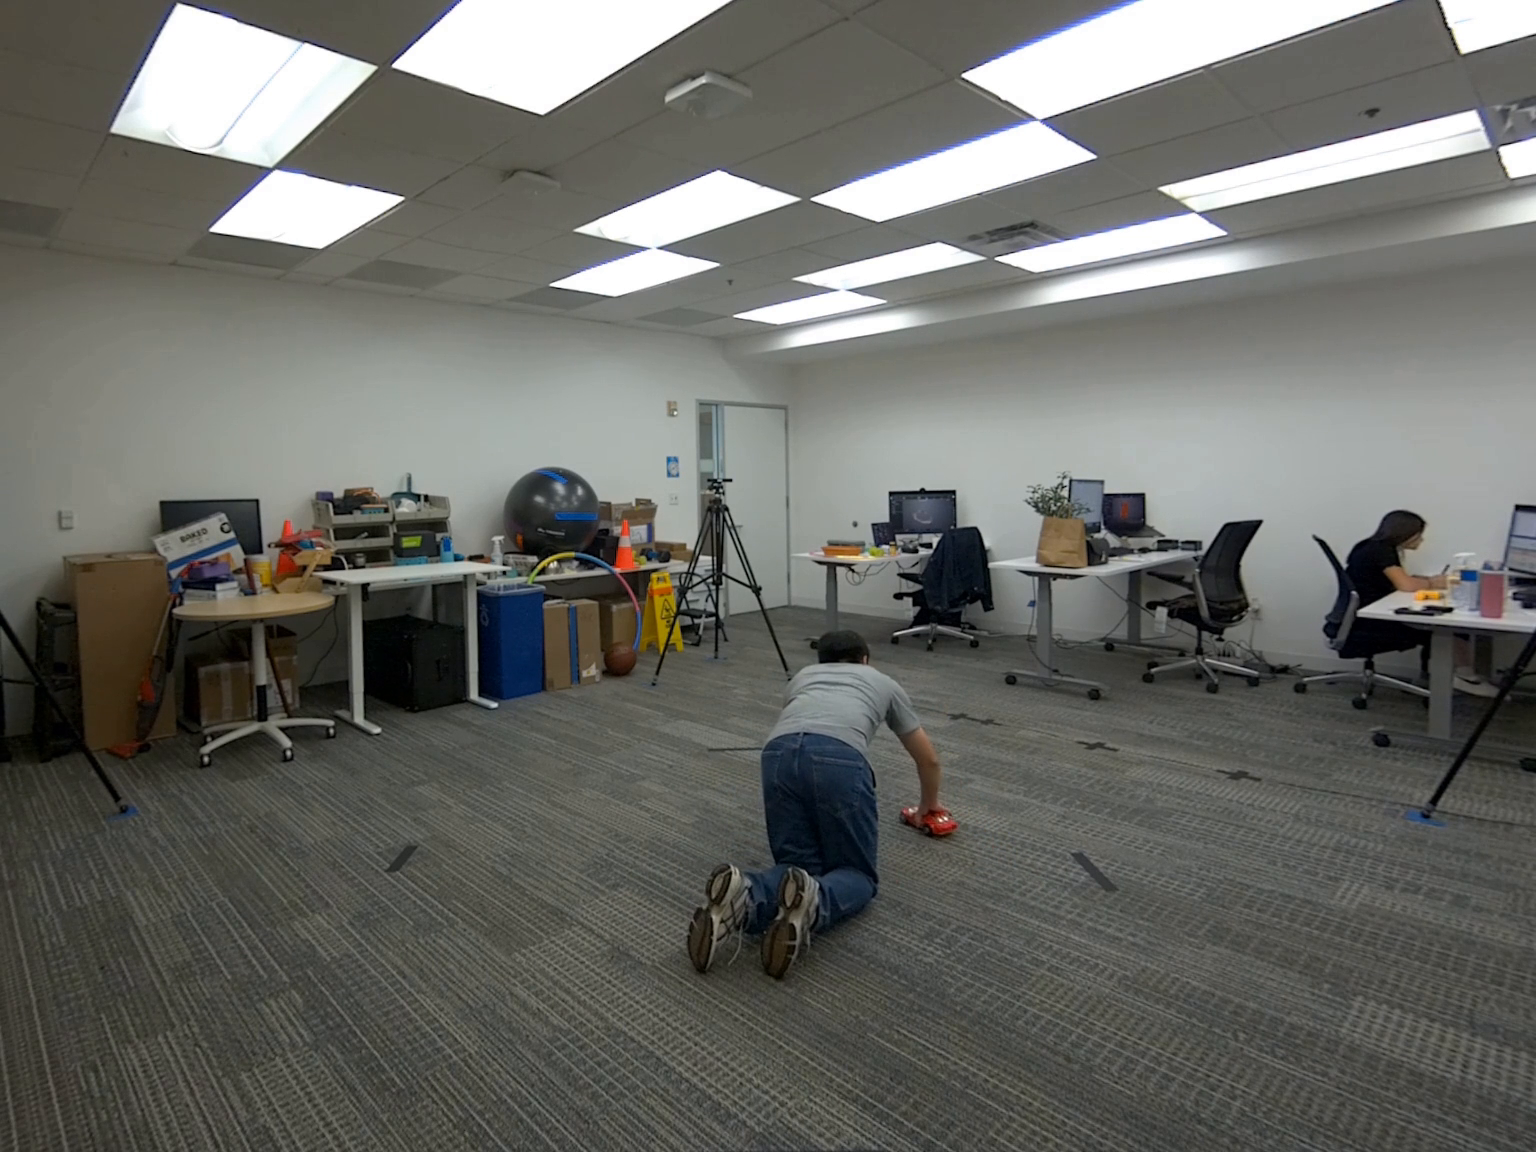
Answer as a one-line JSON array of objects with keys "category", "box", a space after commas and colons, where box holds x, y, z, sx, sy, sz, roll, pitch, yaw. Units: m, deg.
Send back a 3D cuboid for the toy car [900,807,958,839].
[{"category": "toy car", "box": [0.644, 0.973, 3.380, 0.127, 0.083, 0.259, -3, -4, -30]}]
